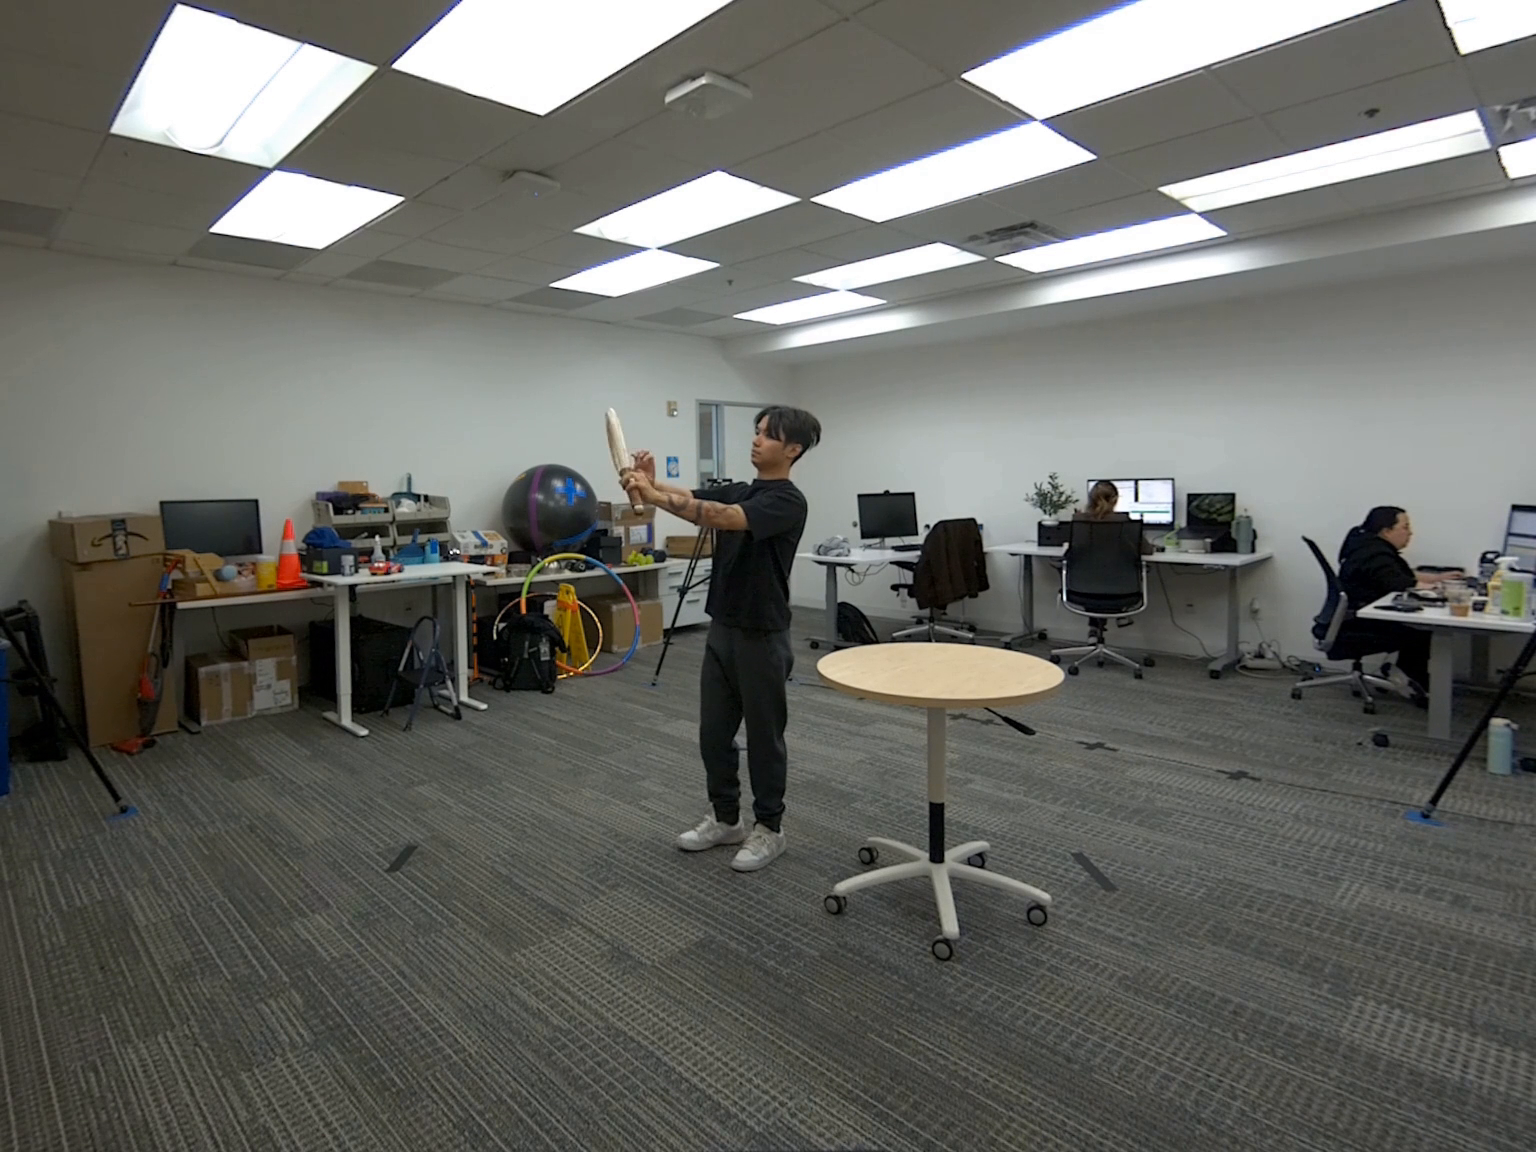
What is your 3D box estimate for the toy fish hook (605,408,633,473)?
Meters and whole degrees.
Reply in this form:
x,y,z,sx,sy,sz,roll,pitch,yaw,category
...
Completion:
x,y,z,sx,sy,sz,roll,pitch,yaw,category
-0.486,-0.353,2.878,0.048,0.524,0.218,-11,-38,-10,toy fish hook
